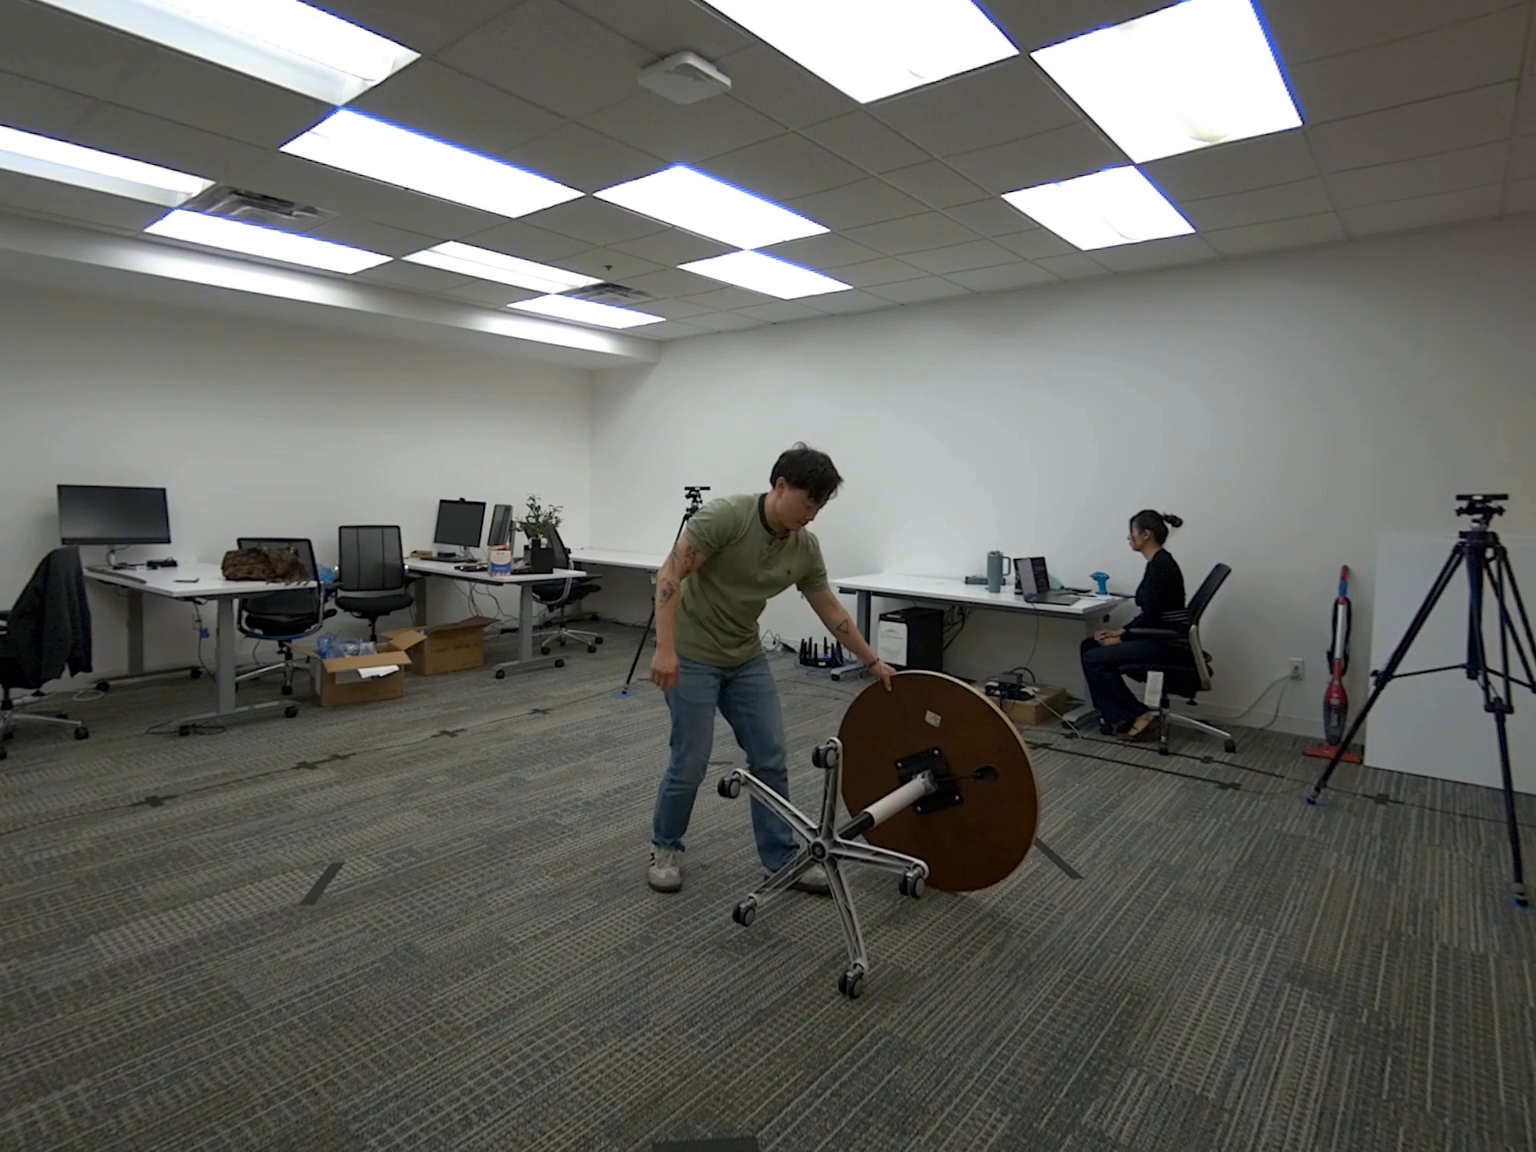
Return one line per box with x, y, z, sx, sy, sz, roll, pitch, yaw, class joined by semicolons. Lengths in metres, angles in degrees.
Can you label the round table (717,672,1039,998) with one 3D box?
0.327;0.760;2.688;0.789;0.759;0.773;4;9;39;round table
